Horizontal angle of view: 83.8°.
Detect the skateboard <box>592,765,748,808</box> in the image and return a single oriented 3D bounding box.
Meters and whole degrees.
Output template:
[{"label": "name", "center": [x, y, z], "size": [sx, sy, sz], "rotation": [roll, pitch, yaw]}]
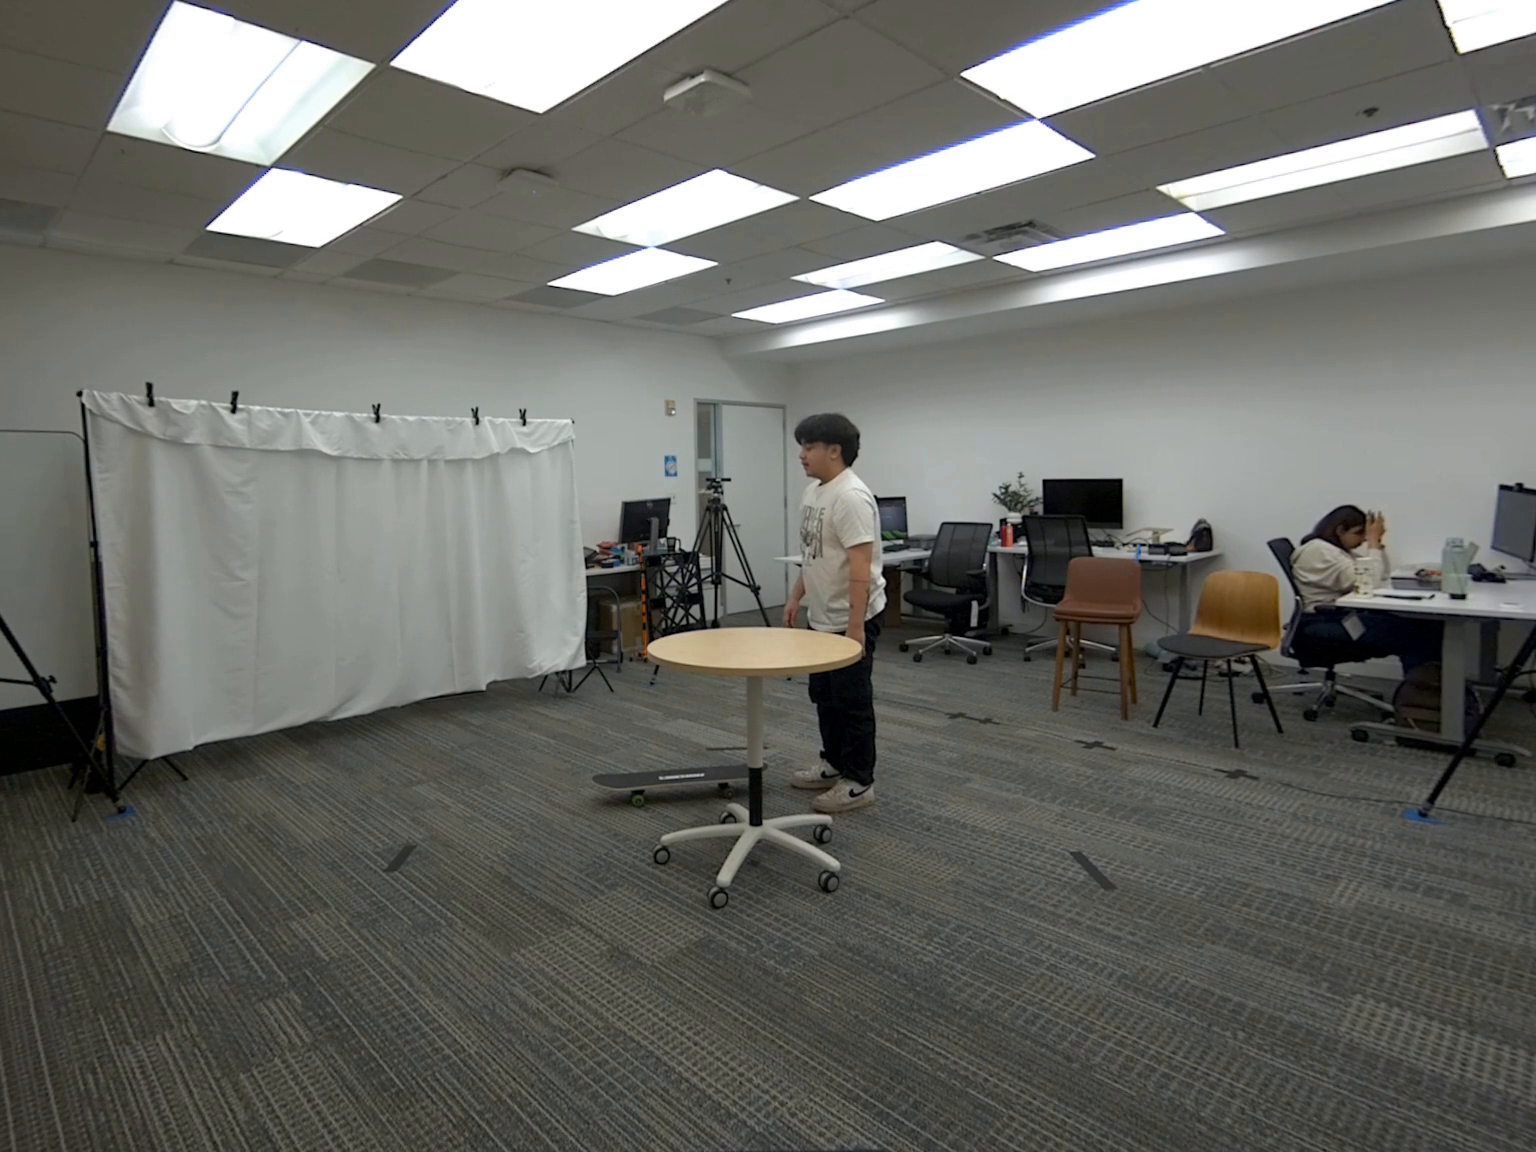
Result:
[{"label": "skateboard", "center": [-0.380, 0.915, 3.773], "size": [0.778, 0.110, 0.196], "rotation": [-2, 6, -9]}]
